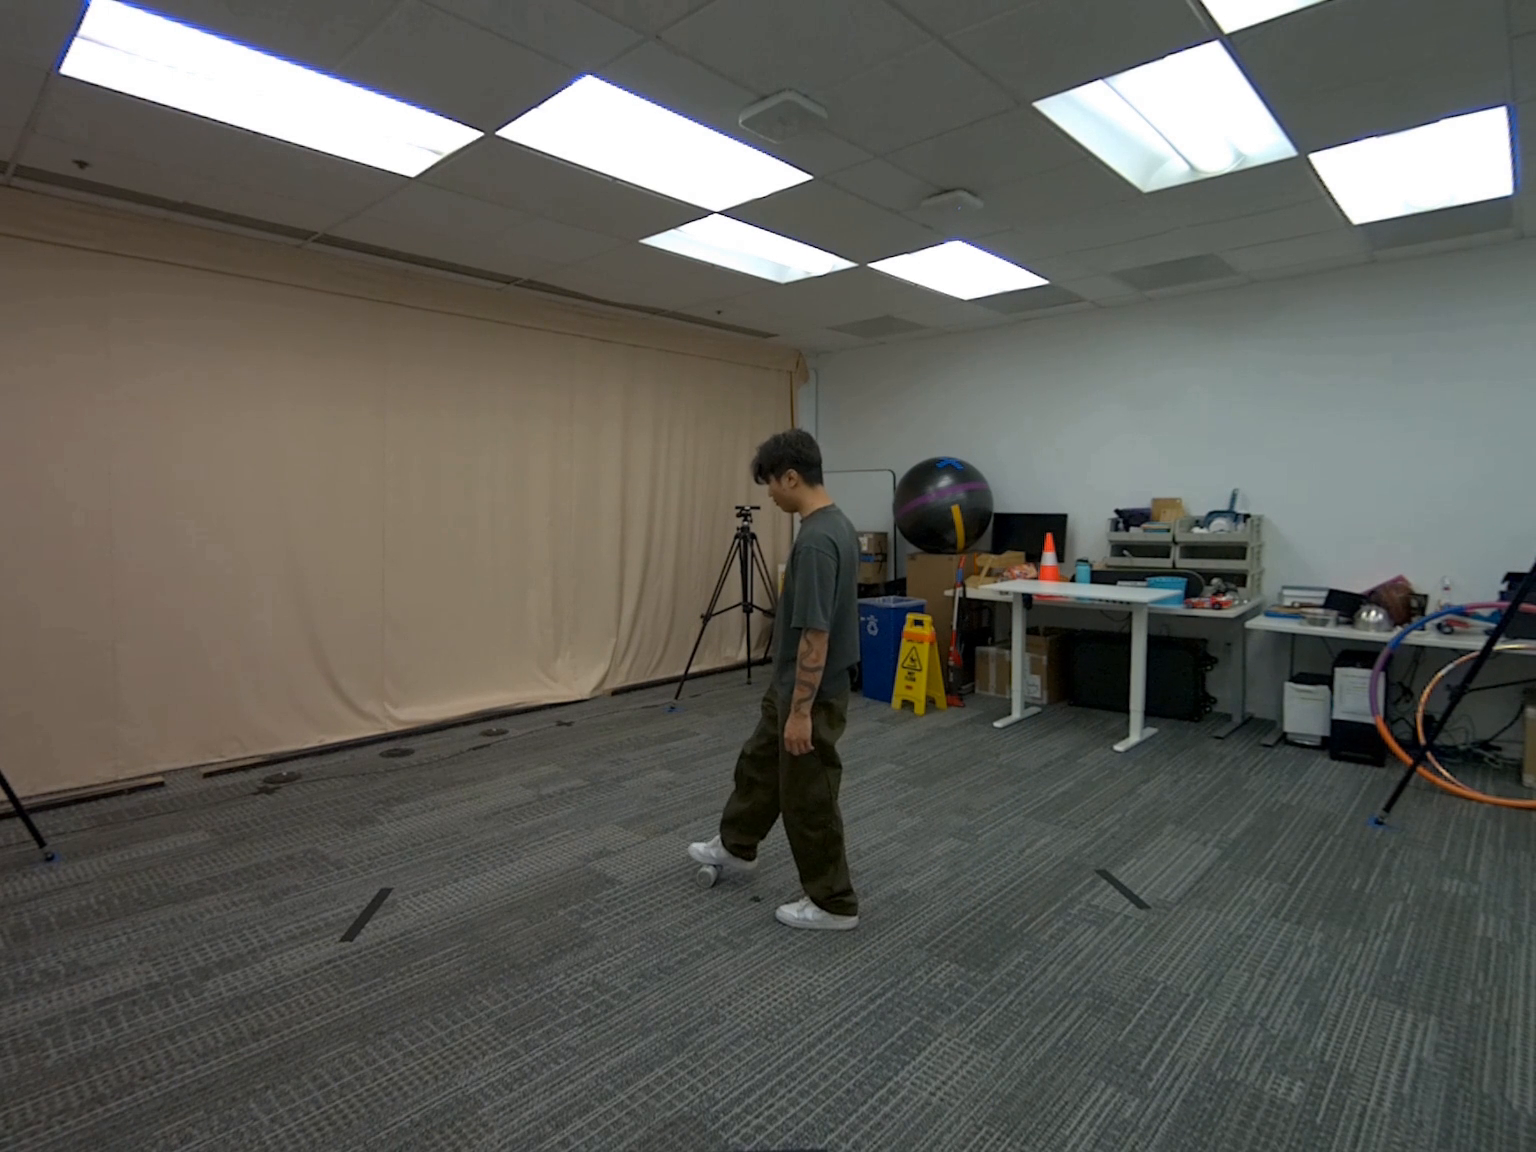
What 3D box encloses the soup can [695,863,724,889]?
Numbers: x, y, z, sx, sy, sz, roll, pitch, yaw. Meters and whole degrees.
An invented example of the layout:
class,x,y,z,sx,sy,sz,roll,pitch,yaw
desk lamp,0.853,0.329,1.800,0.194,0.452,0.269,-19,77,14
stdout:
class,x,y,z,sx,sy,sz,roll,pitch,yaw
soup can,-0.209,1.103,3.123,0.069,0.067,0.118,2,-3,23
